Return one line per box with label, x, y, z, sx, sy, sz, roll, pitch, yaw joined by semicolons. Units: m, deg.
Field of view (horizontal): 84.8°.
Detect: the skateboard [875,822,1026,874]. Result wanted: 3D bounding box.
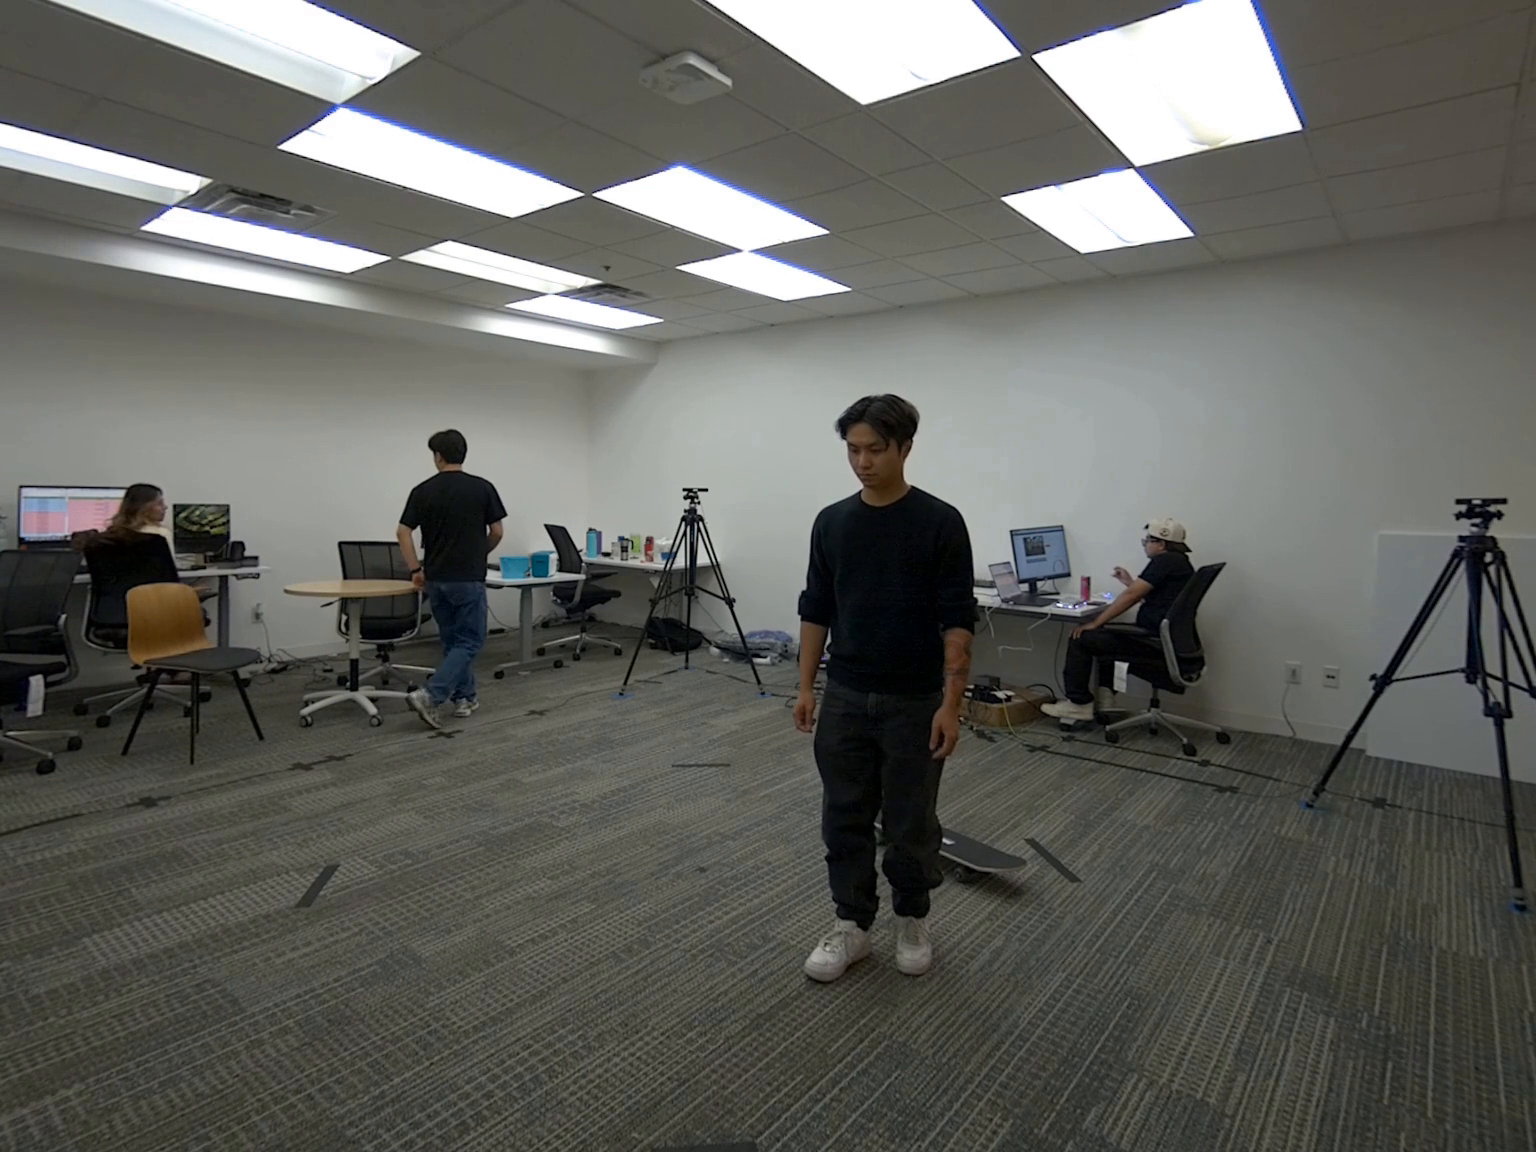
skateboard;0.612;1.013;3.261;0.188;0.110;0.813;-3;8;-41
